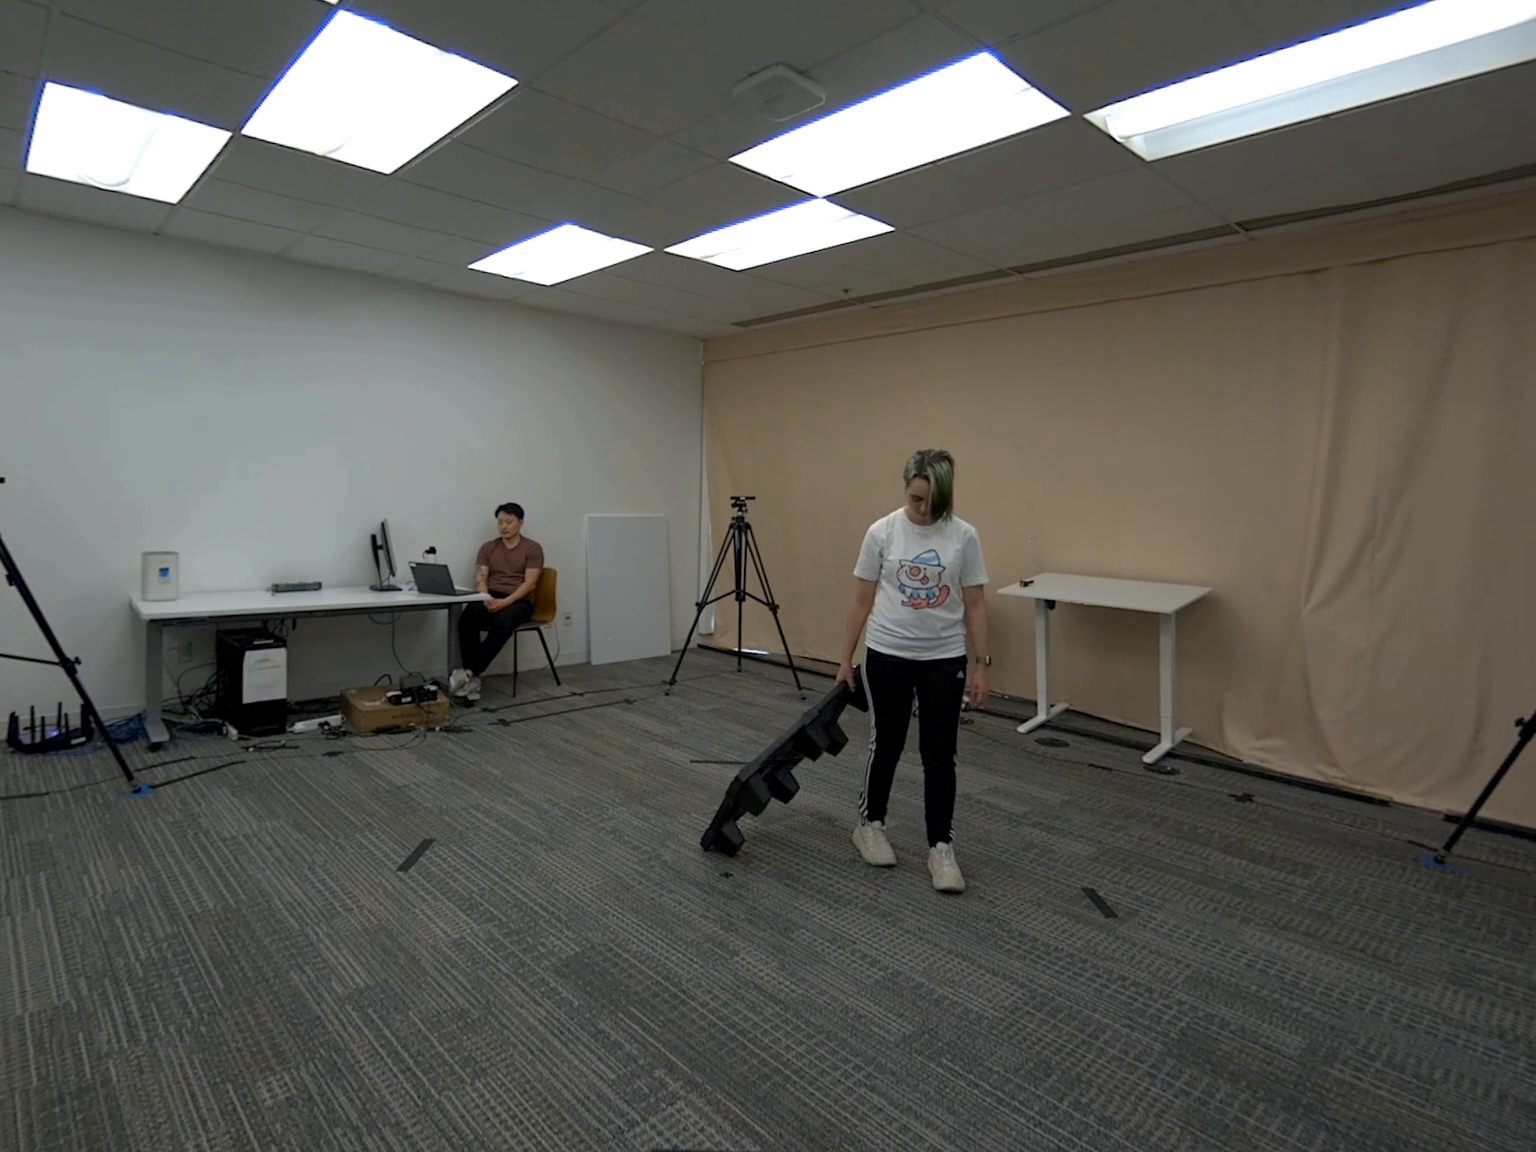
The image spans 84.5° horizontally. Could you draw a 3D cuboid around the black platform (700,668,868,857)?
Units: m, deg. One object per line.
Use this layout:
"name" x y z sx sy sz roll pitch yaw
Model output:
"black platform" 0.097 0.745 3.337 0.146 0.597 0.799 41 49 18
